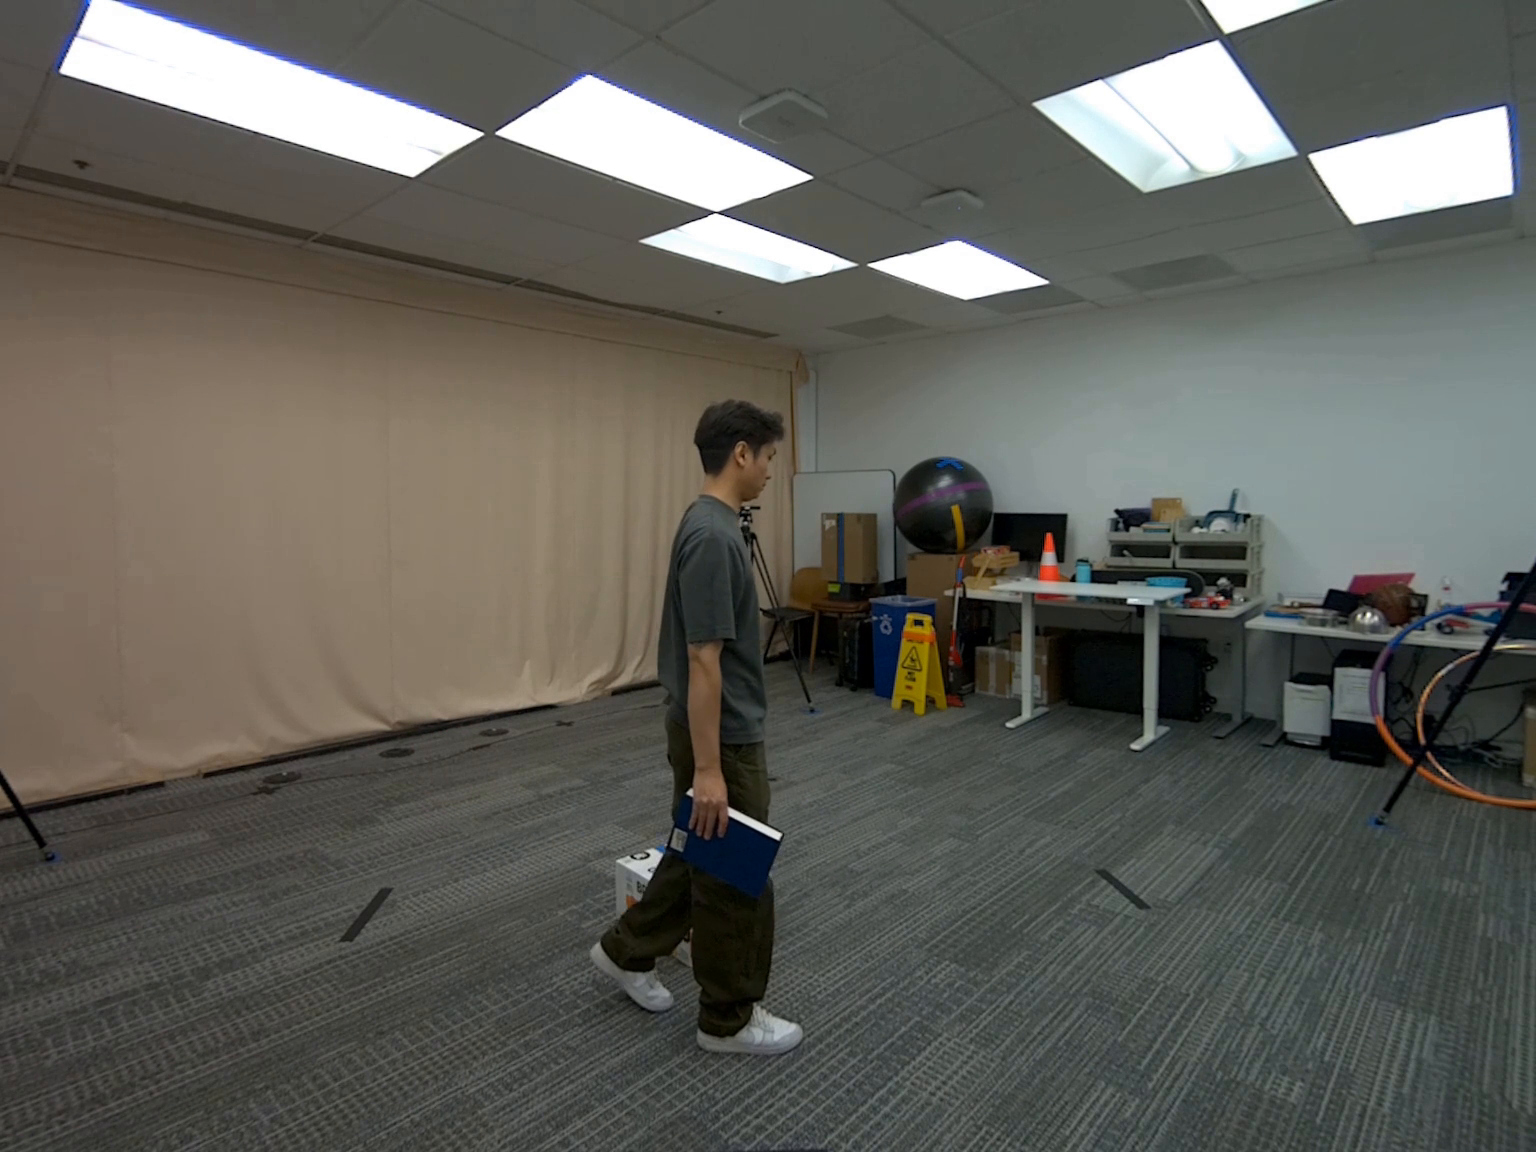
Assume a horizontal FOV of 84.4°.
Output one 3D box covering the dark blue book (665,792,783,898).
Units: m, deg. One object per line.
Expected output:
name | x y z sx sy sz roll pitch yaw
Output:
dark blue book | -0.100 0.610 1.955 0.250 0.163 0.044 22 14 17
